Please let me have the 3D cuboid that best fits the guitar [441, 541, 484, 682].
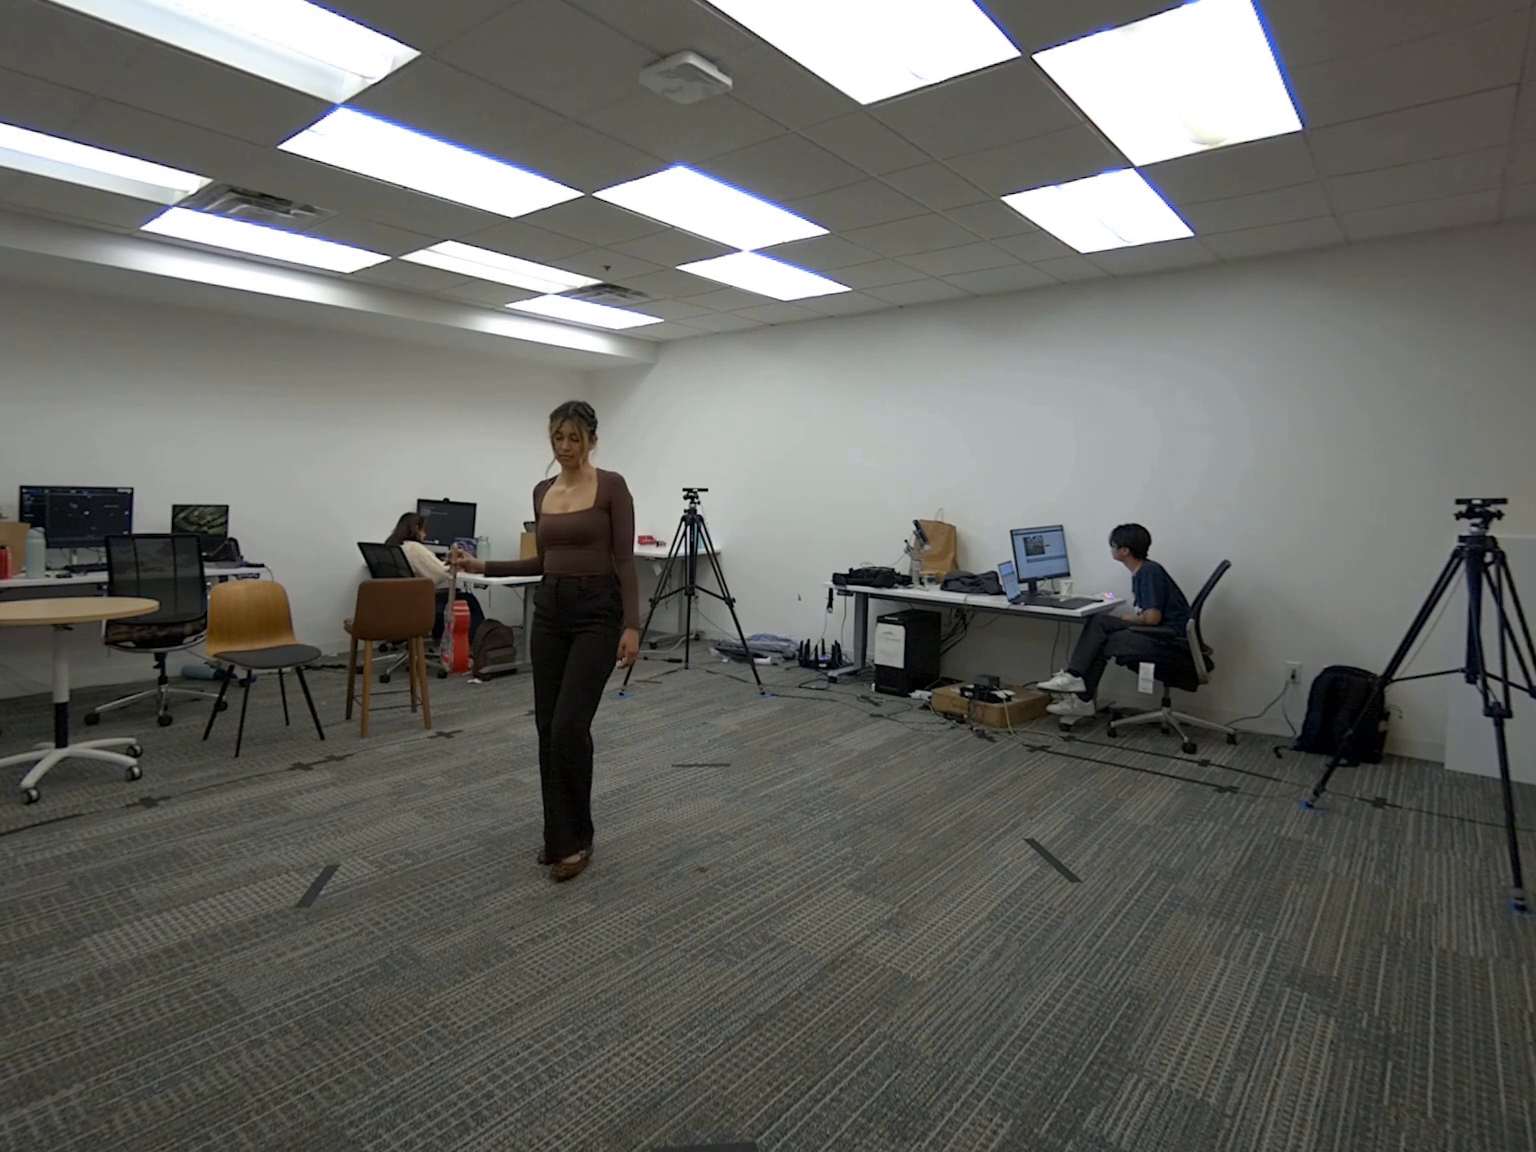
[{"bbox_3d":[-1.187,0.133,3.249,0.069,0.492,0.201,0,19,-34],"label":"guitar"}]
